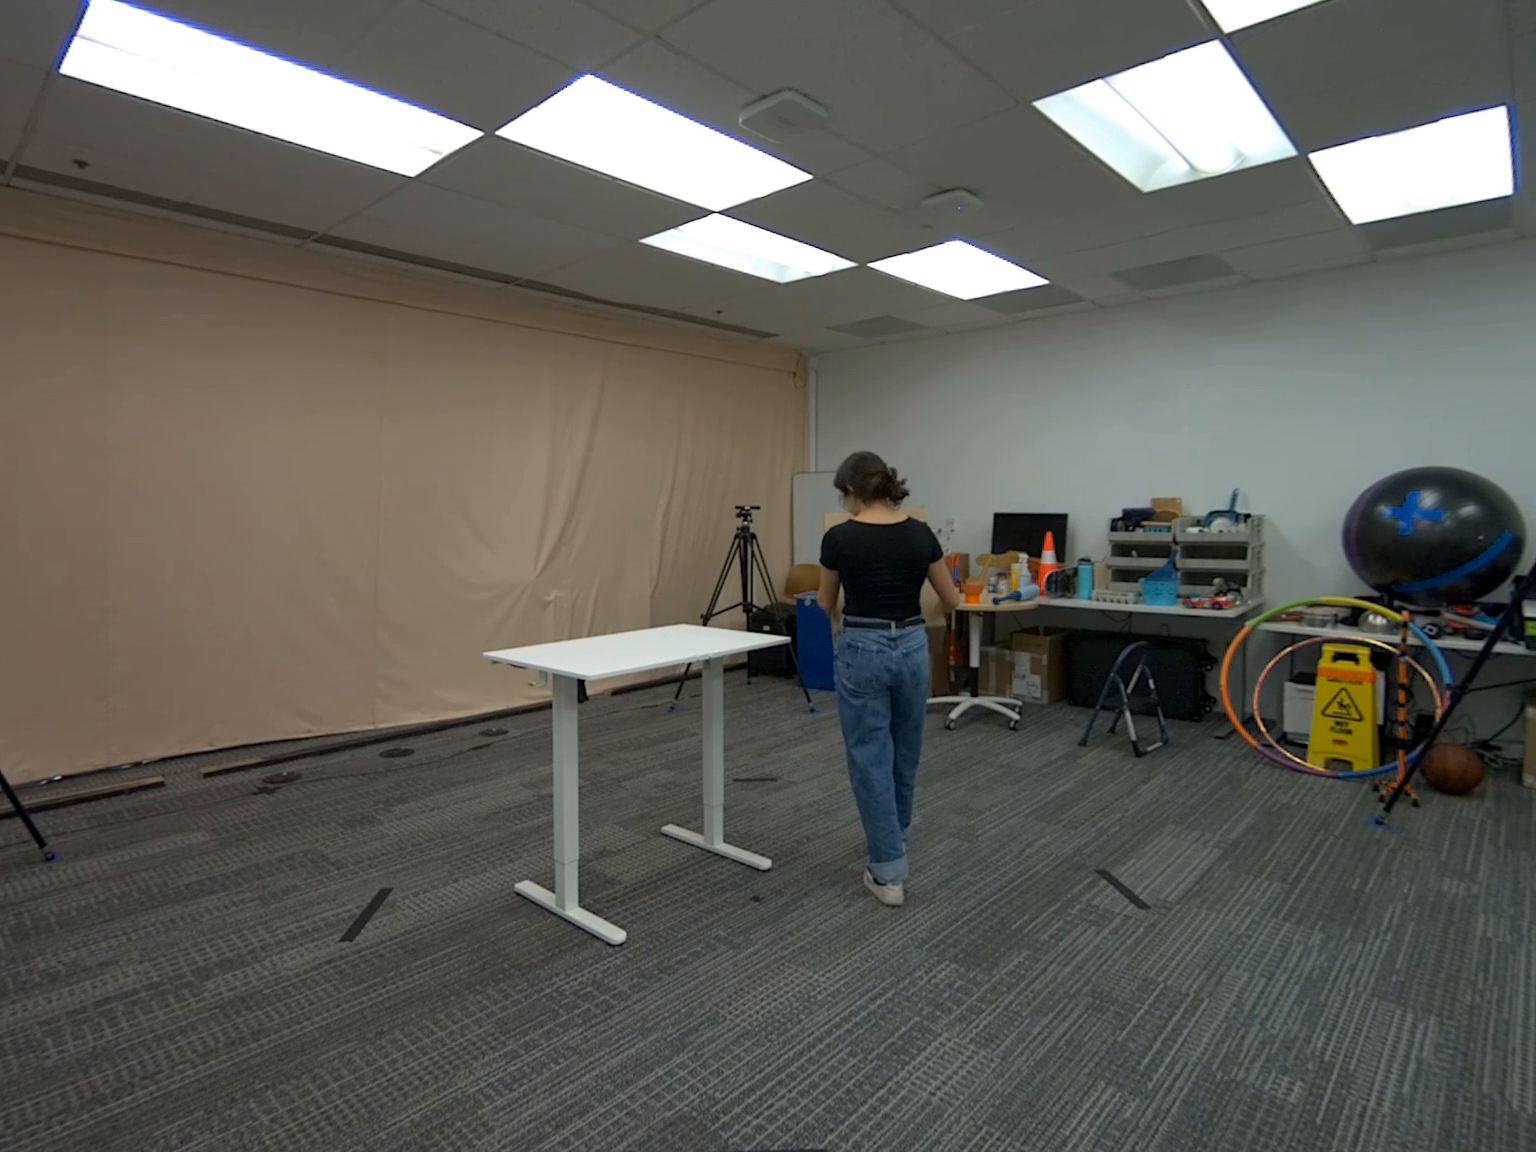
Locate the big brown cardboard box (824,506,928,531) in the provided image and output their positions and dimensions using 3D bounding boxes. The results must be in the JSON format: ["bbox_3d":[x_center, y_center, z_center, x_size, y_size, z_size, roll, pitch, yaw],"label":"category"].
[{"bbox_3d":[0.460,0.017,3.399,0.420,0.599,0.228,-5,-34,5],"label":"big brown cardboard box"}]
